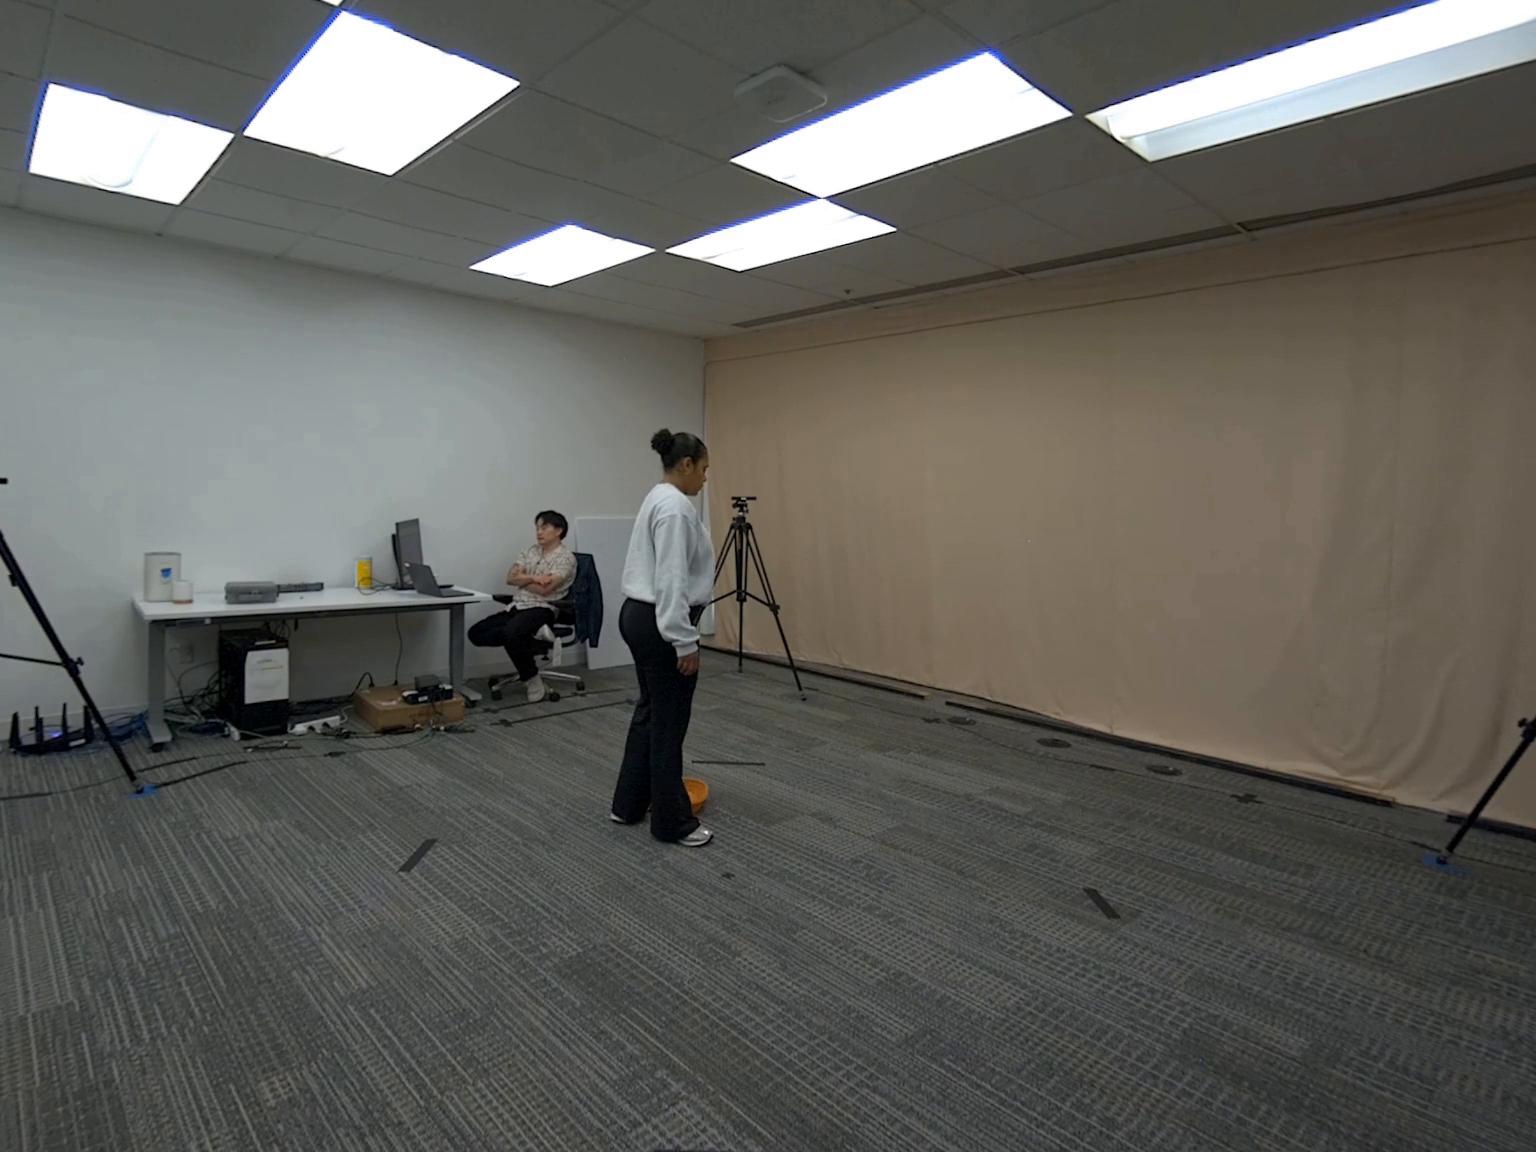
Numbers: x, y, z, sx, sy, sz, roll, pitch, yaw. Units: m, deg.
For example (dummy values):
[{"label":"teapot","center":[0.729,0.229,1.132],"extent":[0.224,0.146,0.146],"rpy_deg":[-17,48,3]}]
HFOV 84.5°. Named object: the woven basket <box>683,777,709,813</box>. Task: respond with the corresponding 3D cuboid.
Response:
[{"label":"woven basket","center":[-0.400,1.001,3.807],"extent":[0.253,0.073,0.350],"rpy_deg":[2,5,4]}]
